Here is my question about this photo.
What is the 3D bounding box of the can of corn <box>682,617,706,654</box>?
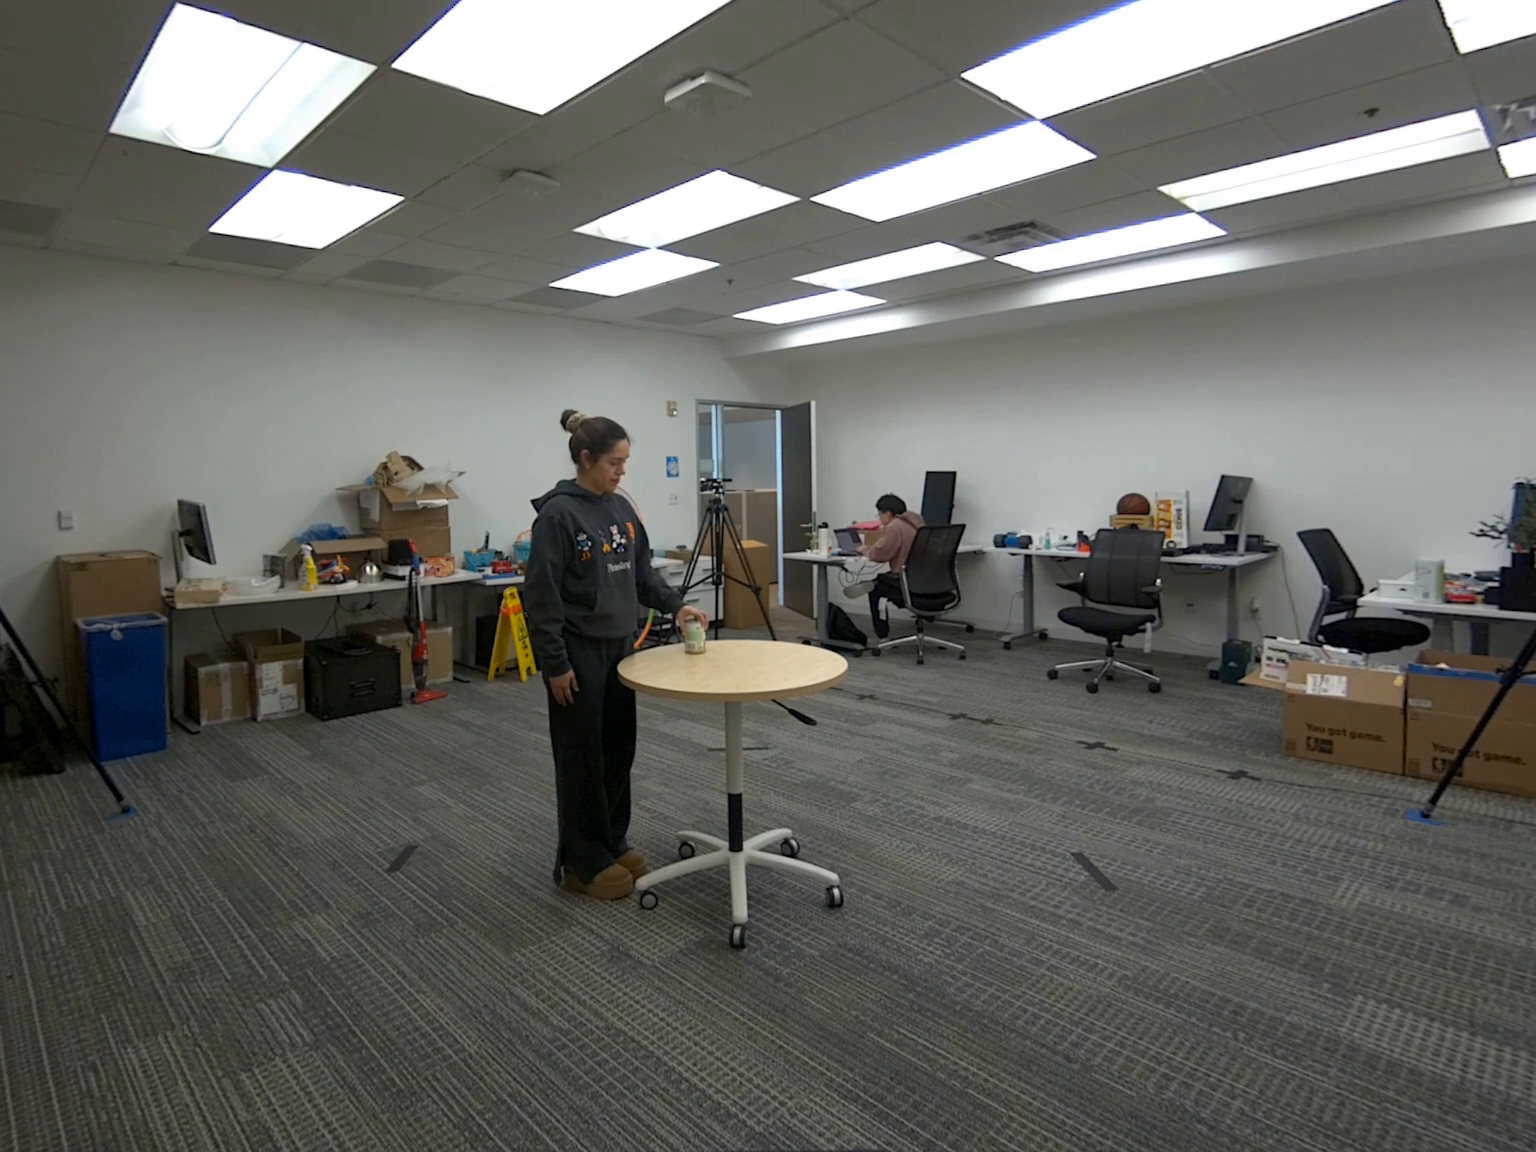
[{"bbox_3d":[-0.268,0.208,3.016,0.074,0.111,0.074,-6,0,-2],"label":"can of corn"}]
